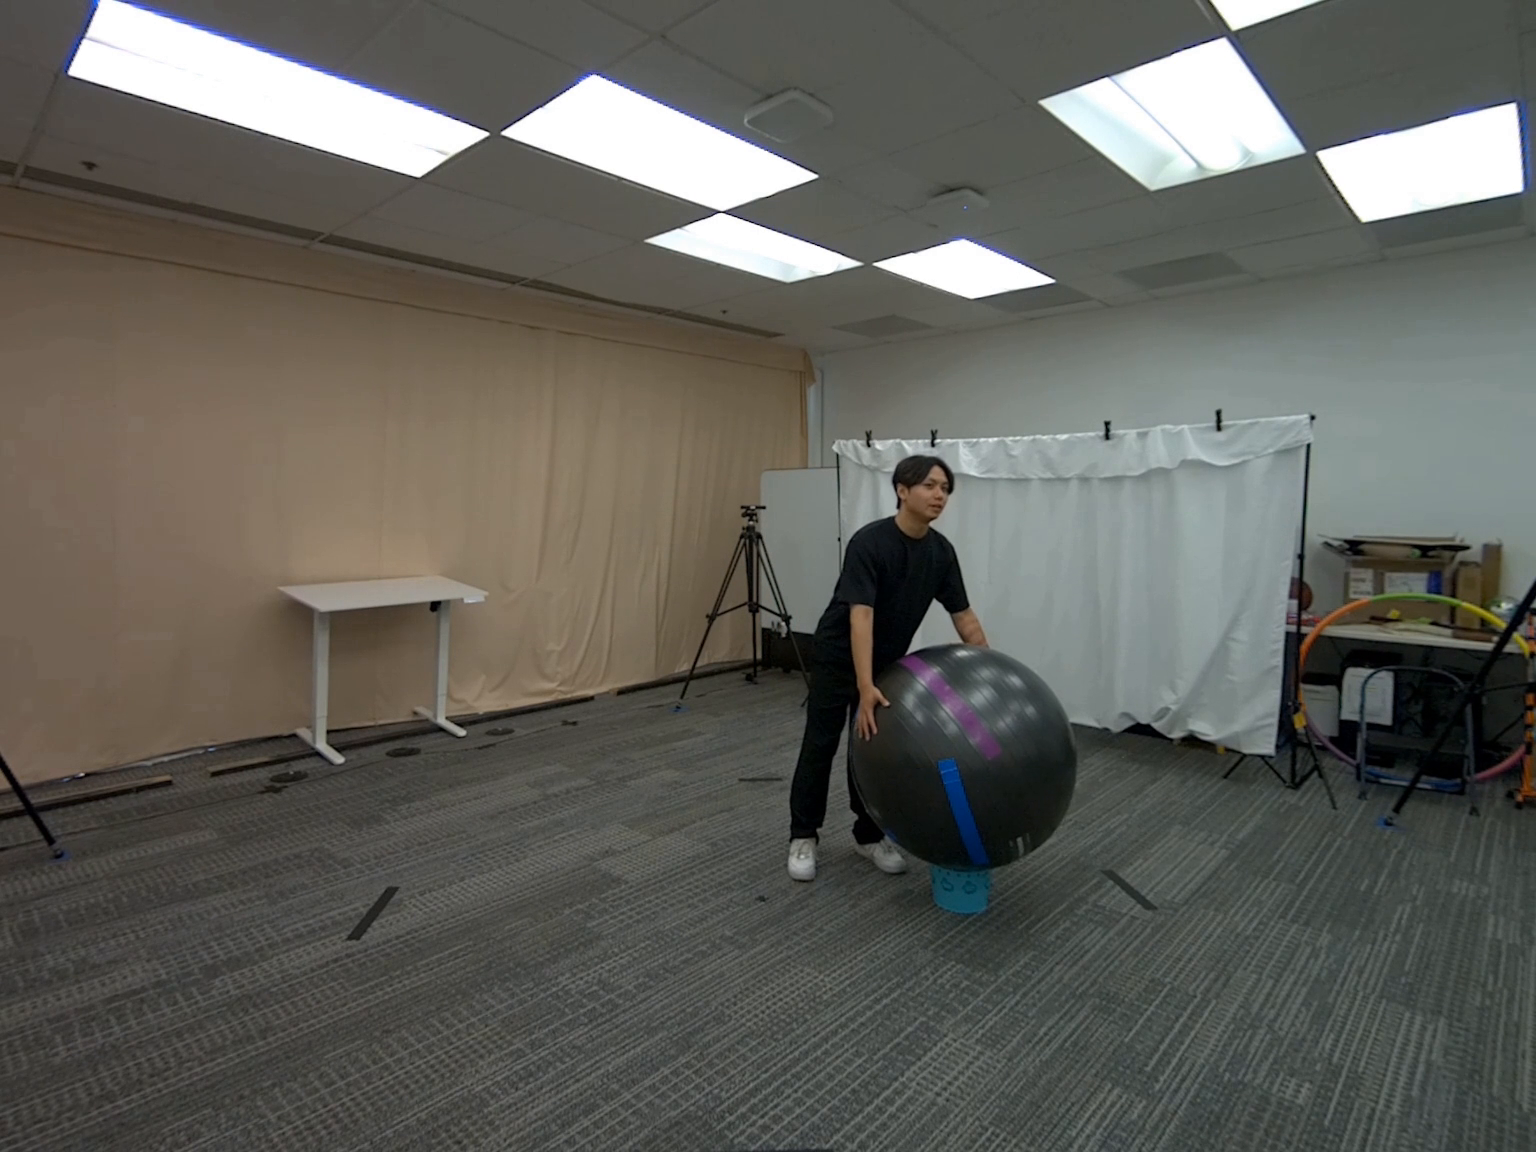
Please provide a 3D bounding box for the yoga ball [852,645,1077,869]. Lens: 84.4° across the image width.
[{"bbox_3d":[0.677,0.626,2.929,0.757,0.756,0.760,0,4,-2],"label":"yoga ball"}]
